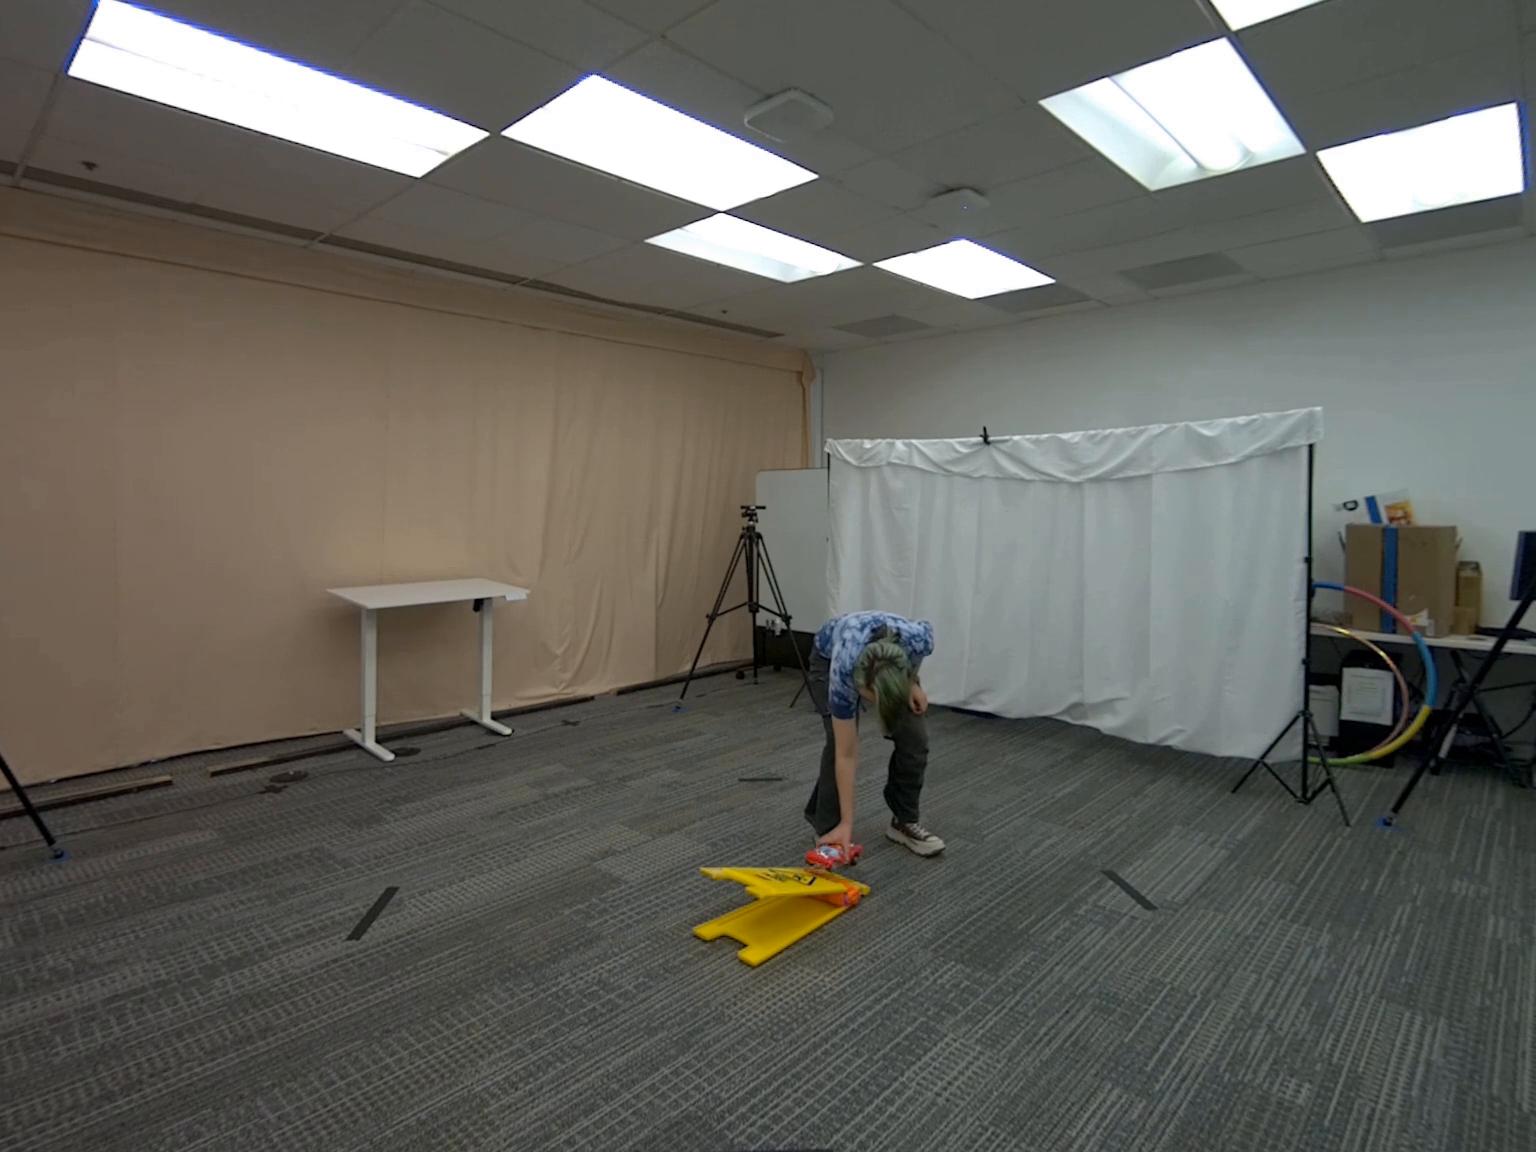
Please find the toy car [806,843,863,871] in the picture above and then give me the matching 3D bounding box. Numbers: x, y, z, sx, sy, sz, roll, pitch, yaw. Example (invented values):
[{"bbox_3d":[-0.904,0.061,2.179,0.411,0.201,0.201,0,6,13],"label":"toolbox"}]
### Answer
[{"bbox_3d":[0.253,1.007,3.024,0.134,0.083,0.247,4,8,39],"label":"toy car"}]
